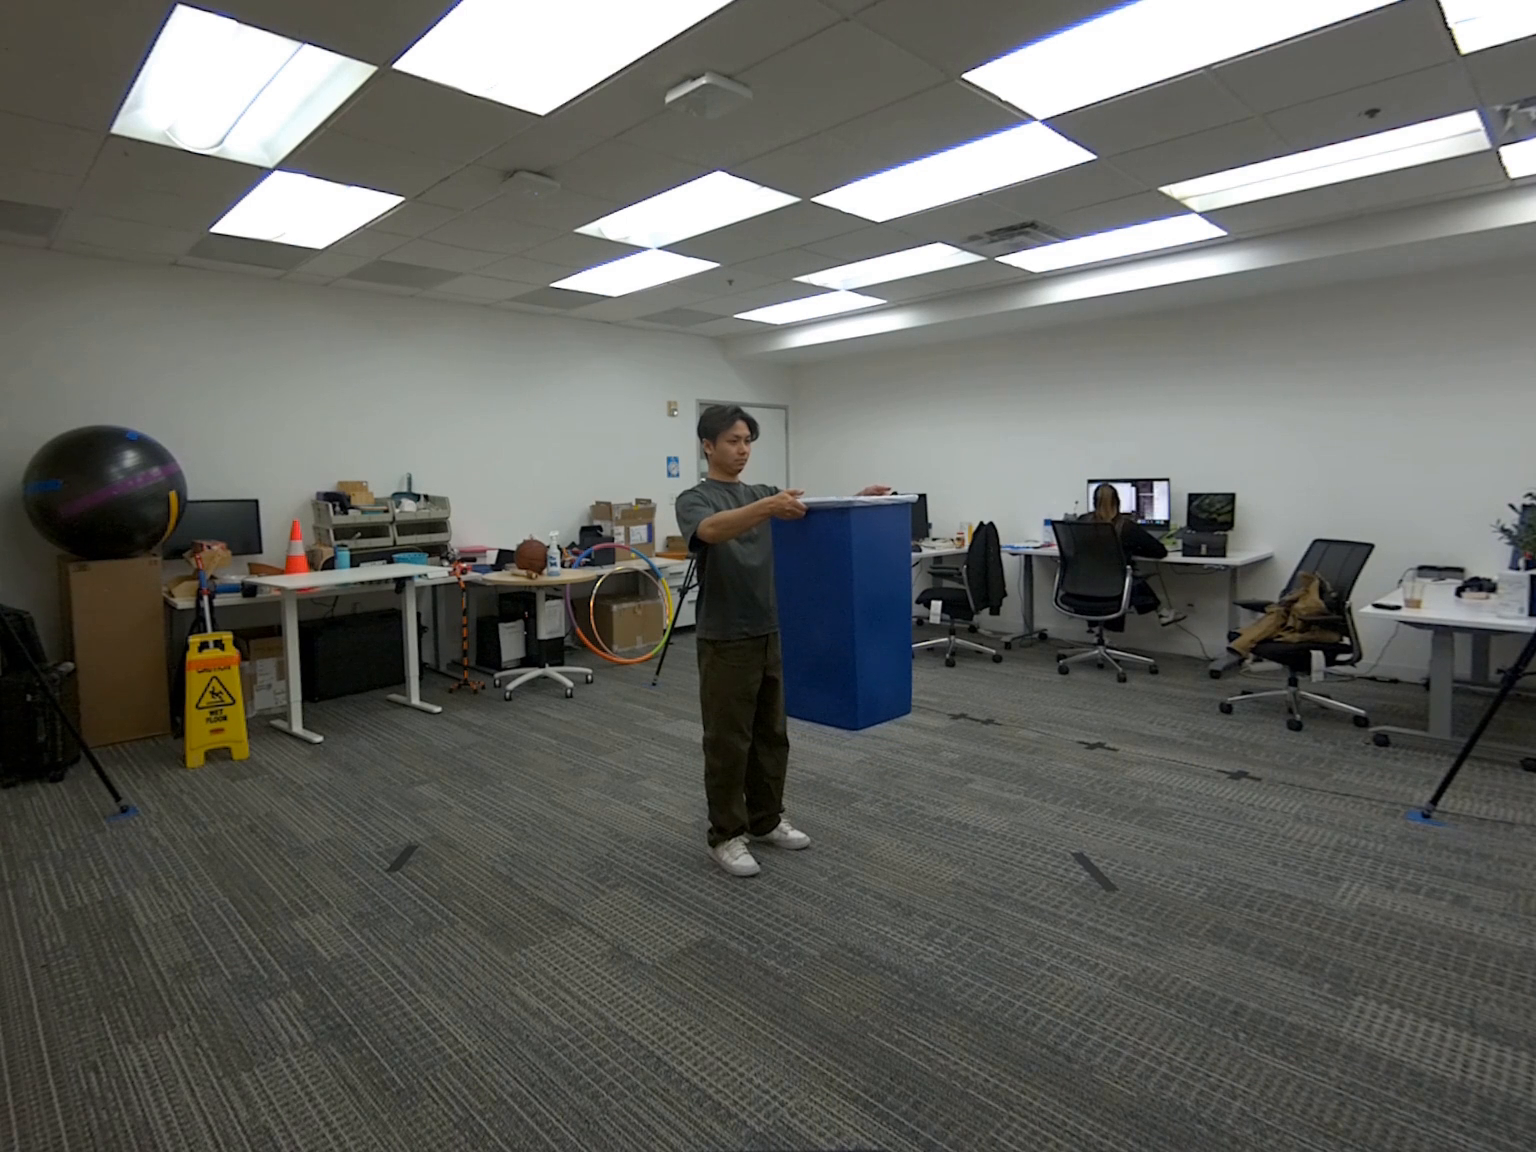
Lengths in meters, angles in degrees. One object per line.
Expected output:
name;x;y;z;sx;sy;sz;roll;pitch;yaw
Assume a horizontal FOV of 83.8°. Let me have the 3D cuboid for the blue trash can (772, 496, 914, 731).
blue trash can;0.263;0.105;2.792;0.385;0.711;0.368;0;5;45
